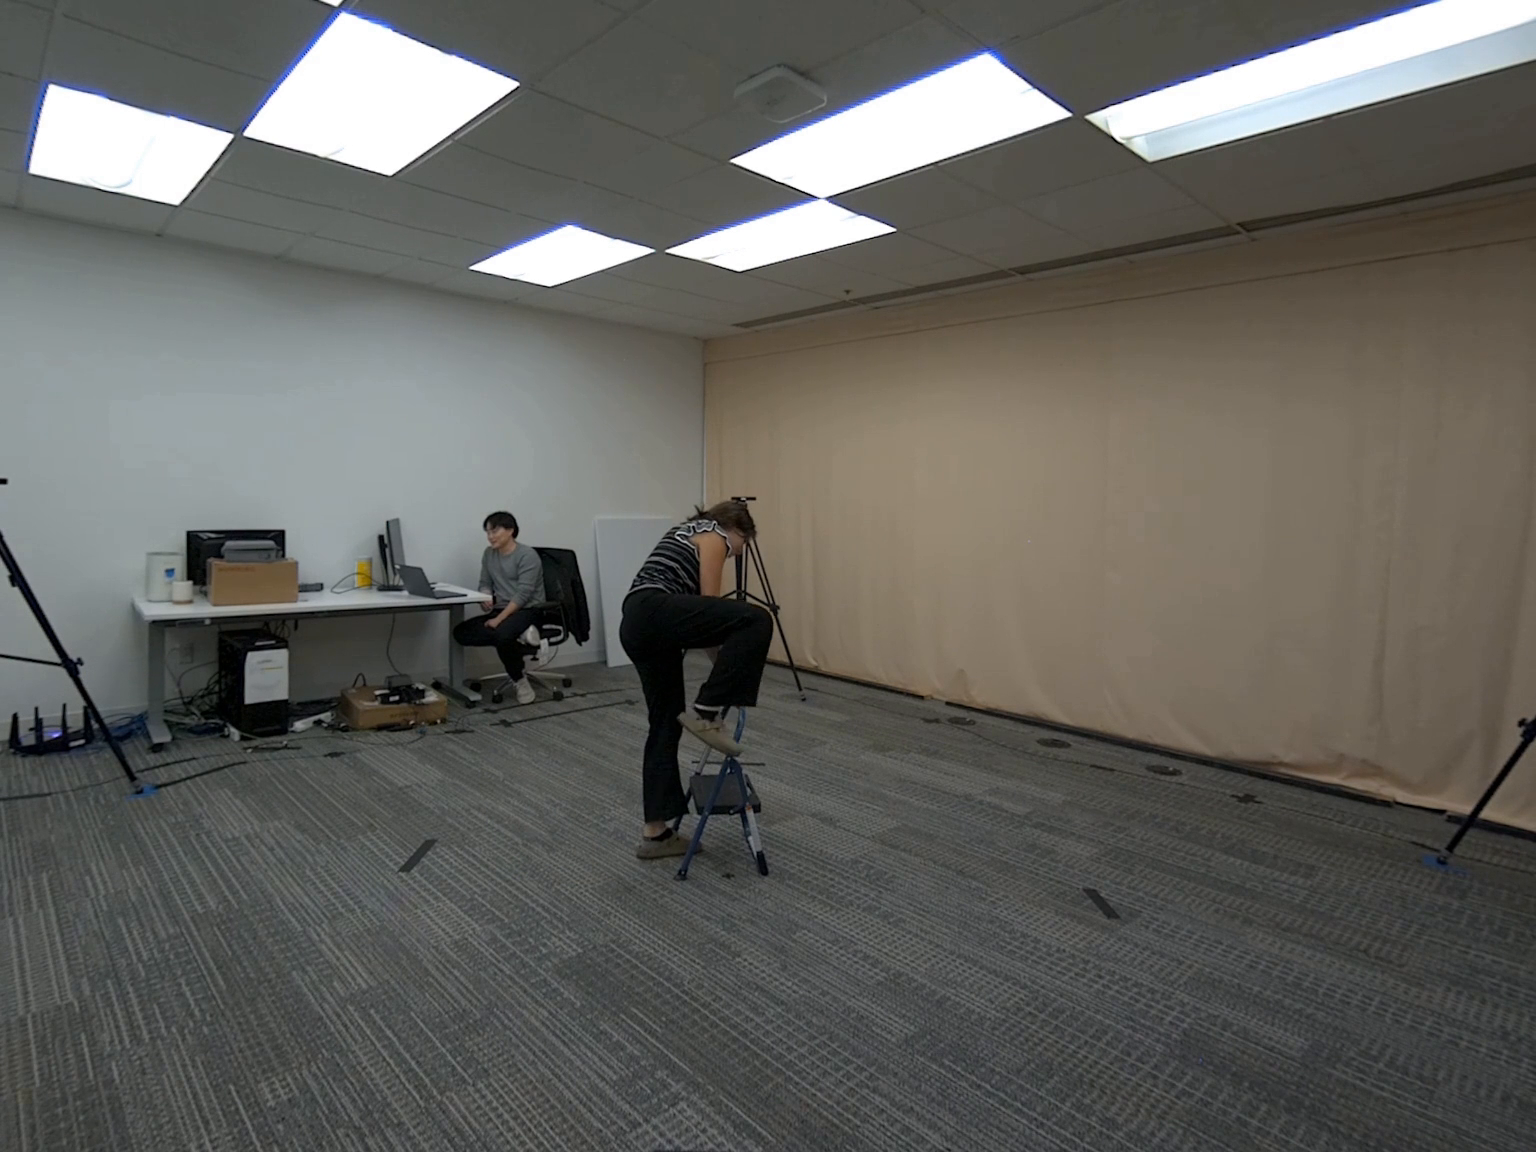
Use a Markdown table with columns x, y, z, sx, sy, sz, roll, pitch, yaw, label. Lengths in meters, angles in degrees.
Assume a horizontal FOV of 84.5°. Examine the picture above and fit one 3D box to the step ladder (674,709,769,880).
| x | y | z | sx | sy | sz | roll | pitch | yaw | label |
| --- | --- | --- | --- | --- | --- | --- | --- | --- | --- |
| -0.203 | 0.789 | 3.273 | 0.346 | 0.604 | 0.435 | 1 | 4 | -10 | step ladder |
